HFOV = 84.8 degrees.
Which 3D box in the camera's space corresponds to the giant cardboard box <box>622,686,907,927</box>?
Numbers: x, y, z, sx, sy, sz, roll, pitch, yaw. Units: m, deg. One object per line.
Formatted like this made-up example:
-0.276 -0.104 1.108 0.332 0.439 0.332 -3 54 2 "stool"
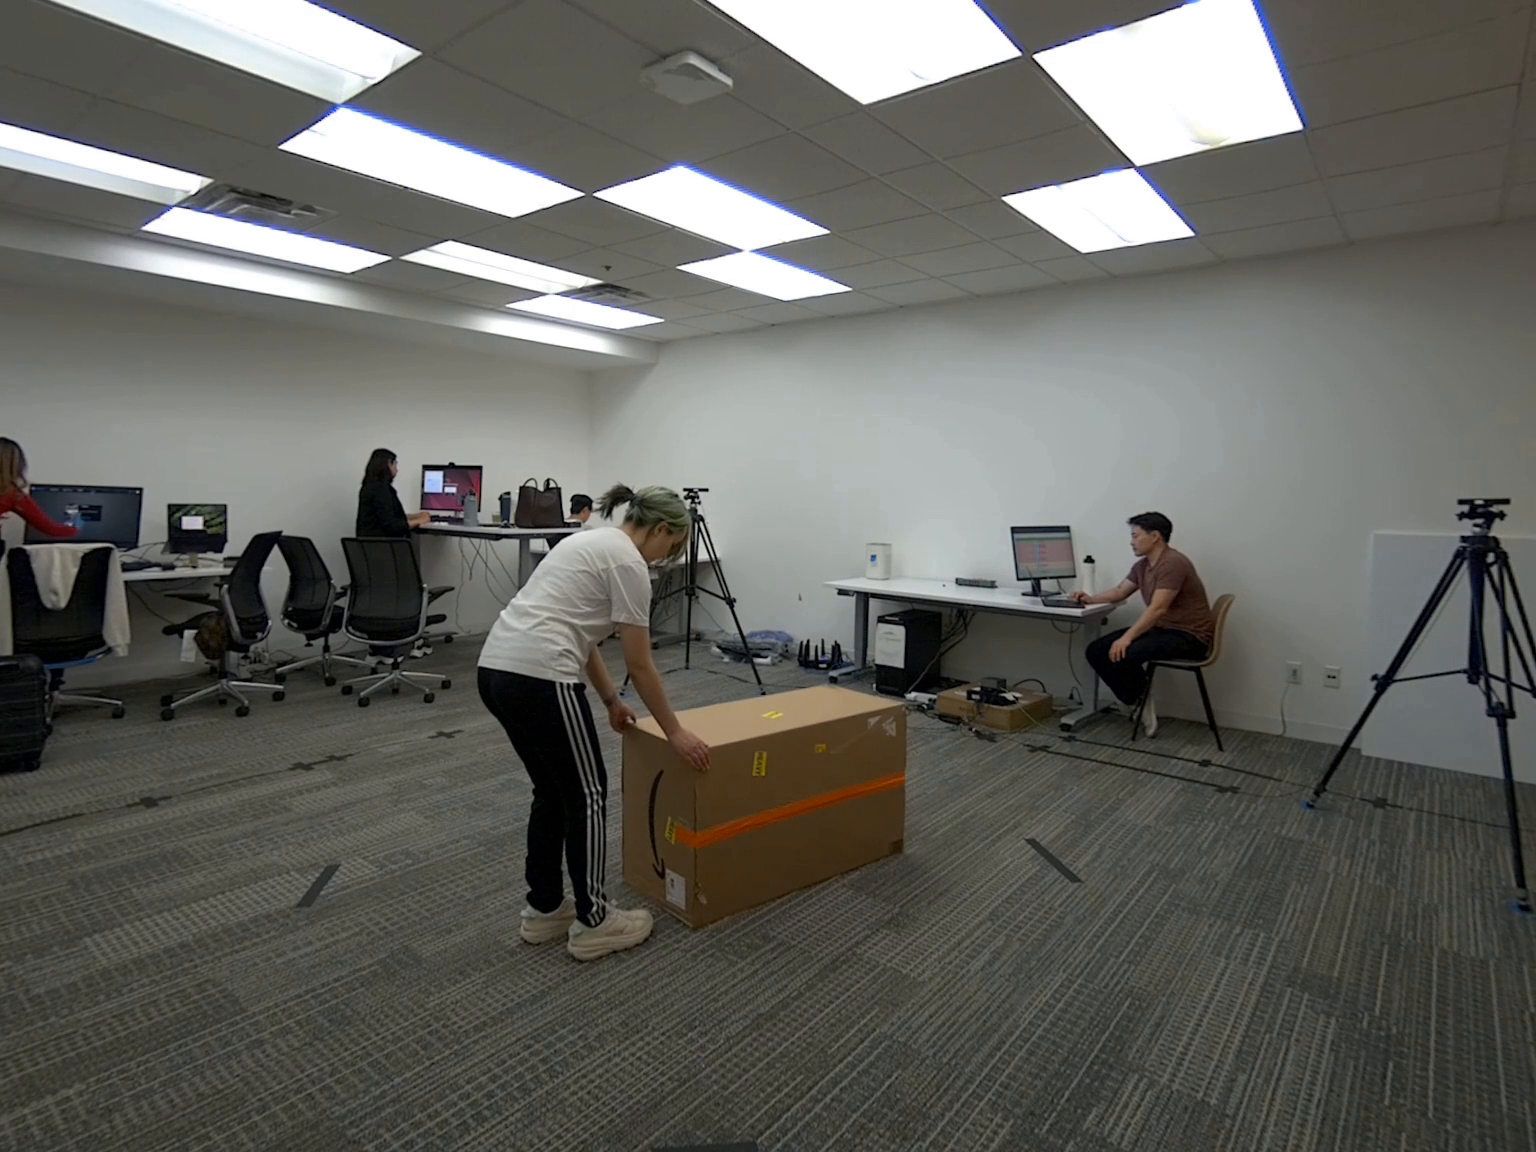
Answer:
0.005 0.783 3.139 0.997 0.581 0.462 -4 7 -40 "giant cardboard box"
